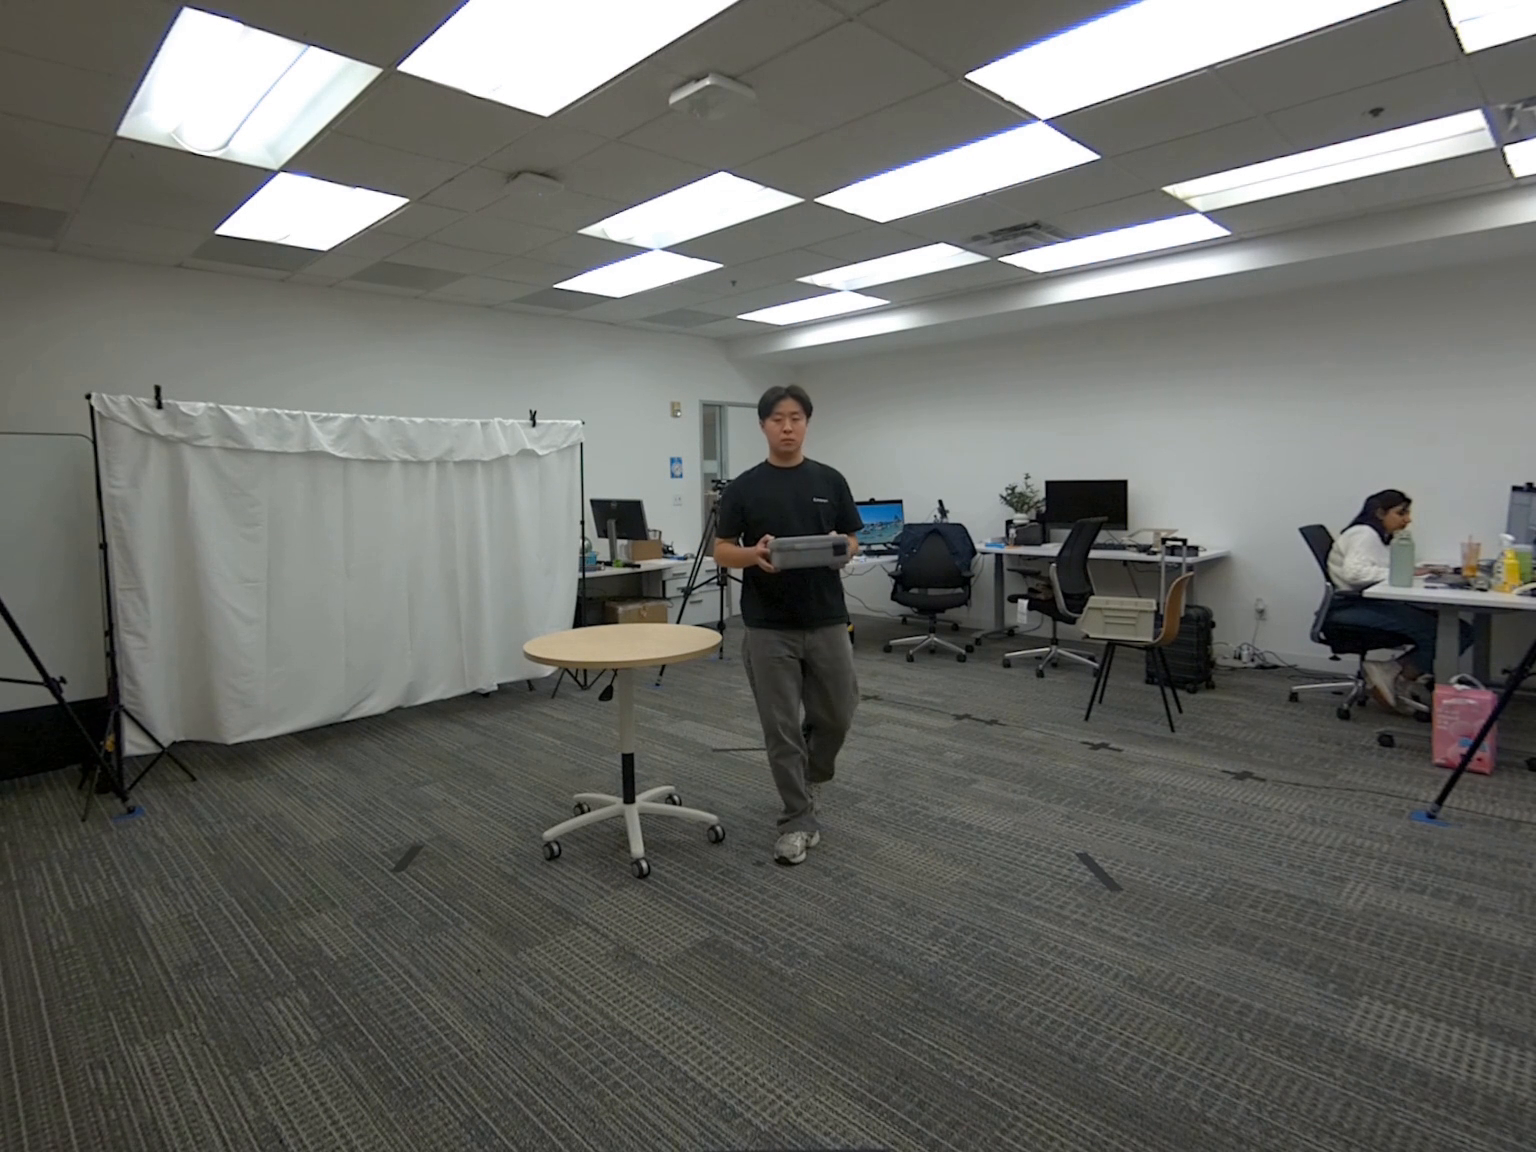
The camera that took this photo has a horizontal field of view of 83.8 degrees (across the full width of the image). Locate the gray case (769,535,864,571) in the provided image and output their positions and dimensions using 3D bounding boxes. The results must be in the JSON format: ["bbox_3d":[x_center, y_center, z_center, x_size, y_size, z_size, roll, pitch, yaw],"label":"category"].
[{"bbox_3d":[0.148,-0.083,2.957,0.260,0.103,0.291,-3,4,-14],"label":"gray case"}]
